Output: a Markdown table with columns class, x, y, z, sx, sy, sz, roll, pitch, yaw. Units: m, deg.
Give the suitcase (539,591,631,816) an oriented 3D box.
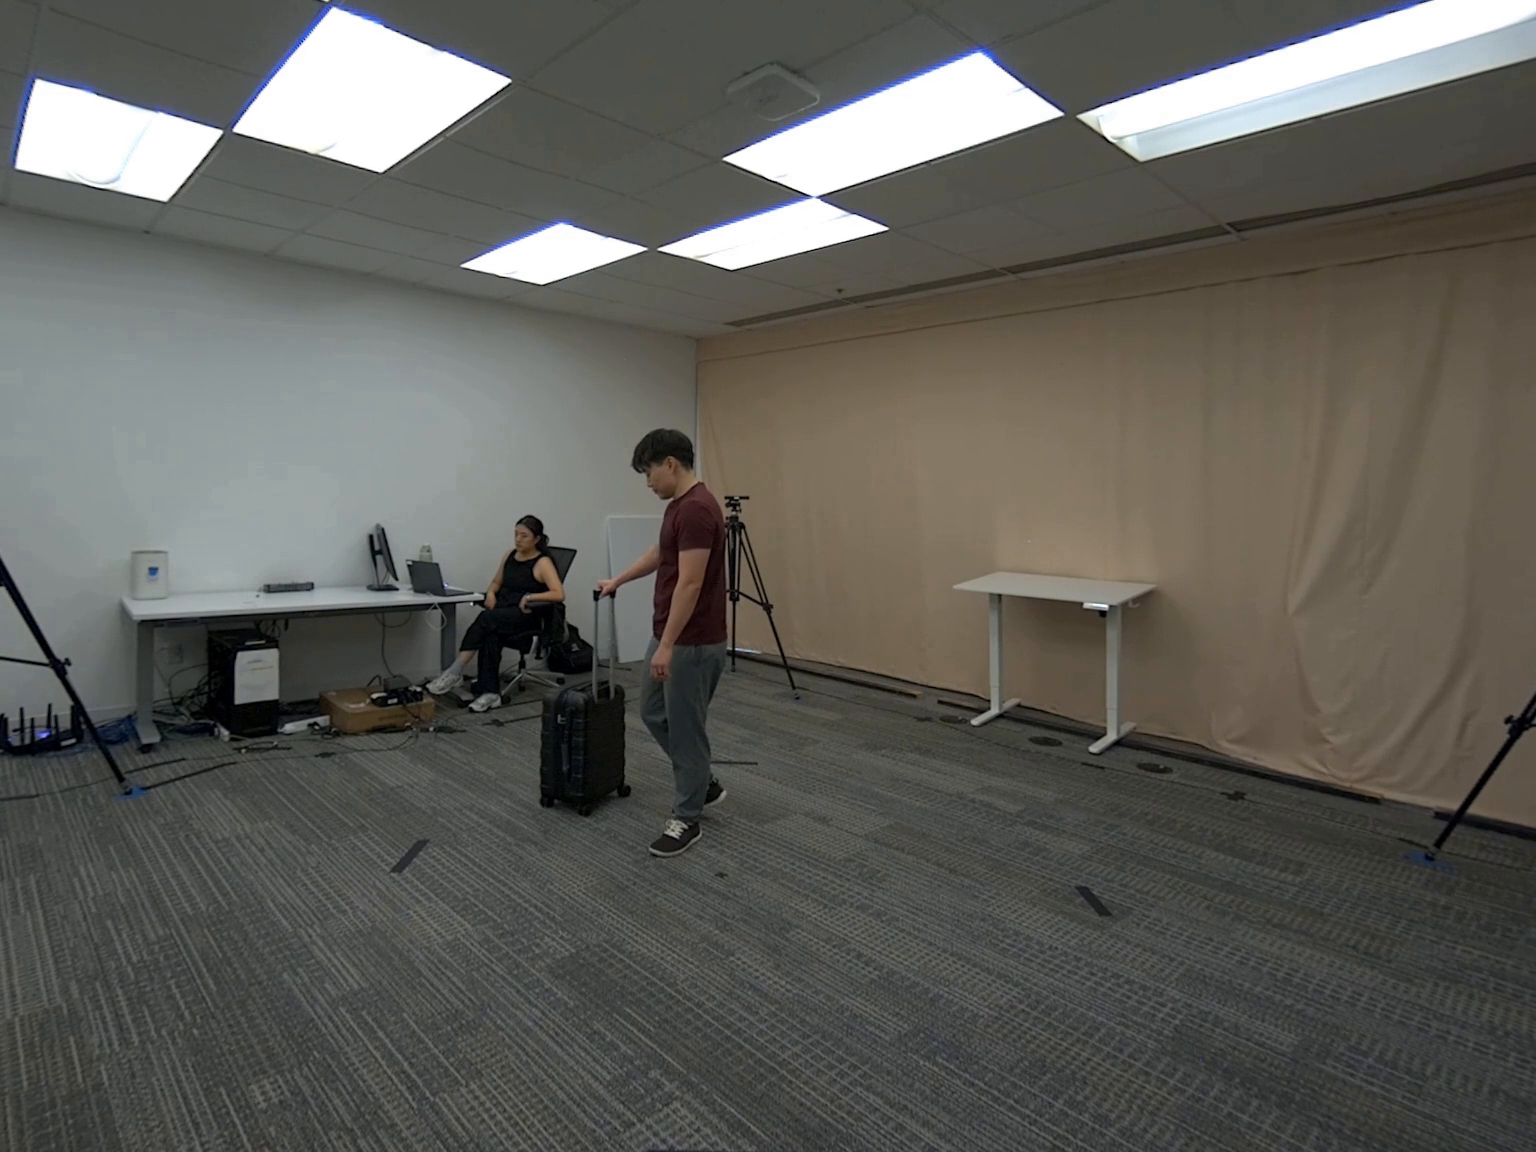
| class | x | y | z | sx | sy | sz | roll | pitch | yaw |
| --- | --- | --- | --- | --- | --- | --- | --- | --- | --- |
| suitcase | -0.837 | 0.543 | 3.786 | 0.261 | 0.976 | 0.378 | 2 | 4 | 22 |
